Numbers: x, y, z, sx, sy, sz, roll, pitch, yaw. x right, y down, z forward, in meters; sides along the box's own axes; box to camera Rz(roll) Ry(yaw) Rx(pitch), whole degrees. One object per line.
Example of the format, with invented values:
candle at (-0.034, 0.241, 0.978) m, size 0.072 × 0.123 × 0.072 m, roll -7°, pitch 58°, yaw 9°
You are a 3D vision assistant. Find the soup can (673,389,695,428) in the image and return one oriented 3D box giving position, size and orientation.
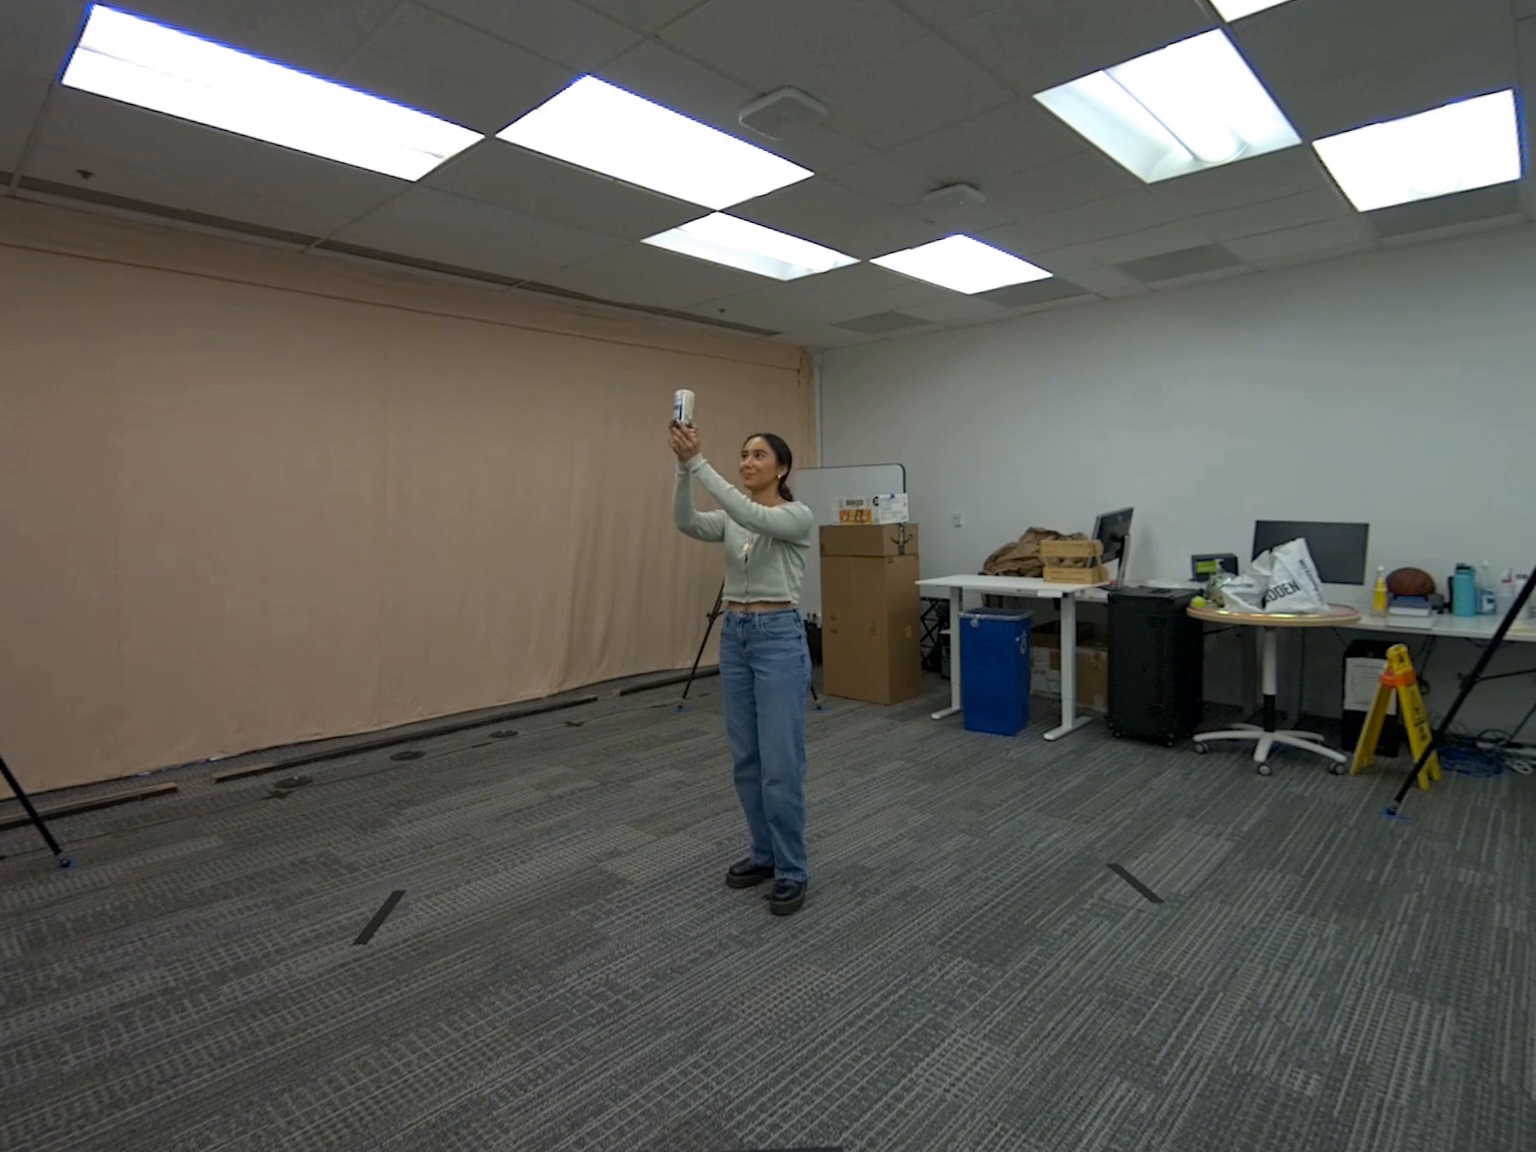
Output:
soup can at (-0.268, -0.552, 2.797) m, size 0.067 × 0.122 × 0.067 m, roll 1°, pitch -9°, yaw -2°
